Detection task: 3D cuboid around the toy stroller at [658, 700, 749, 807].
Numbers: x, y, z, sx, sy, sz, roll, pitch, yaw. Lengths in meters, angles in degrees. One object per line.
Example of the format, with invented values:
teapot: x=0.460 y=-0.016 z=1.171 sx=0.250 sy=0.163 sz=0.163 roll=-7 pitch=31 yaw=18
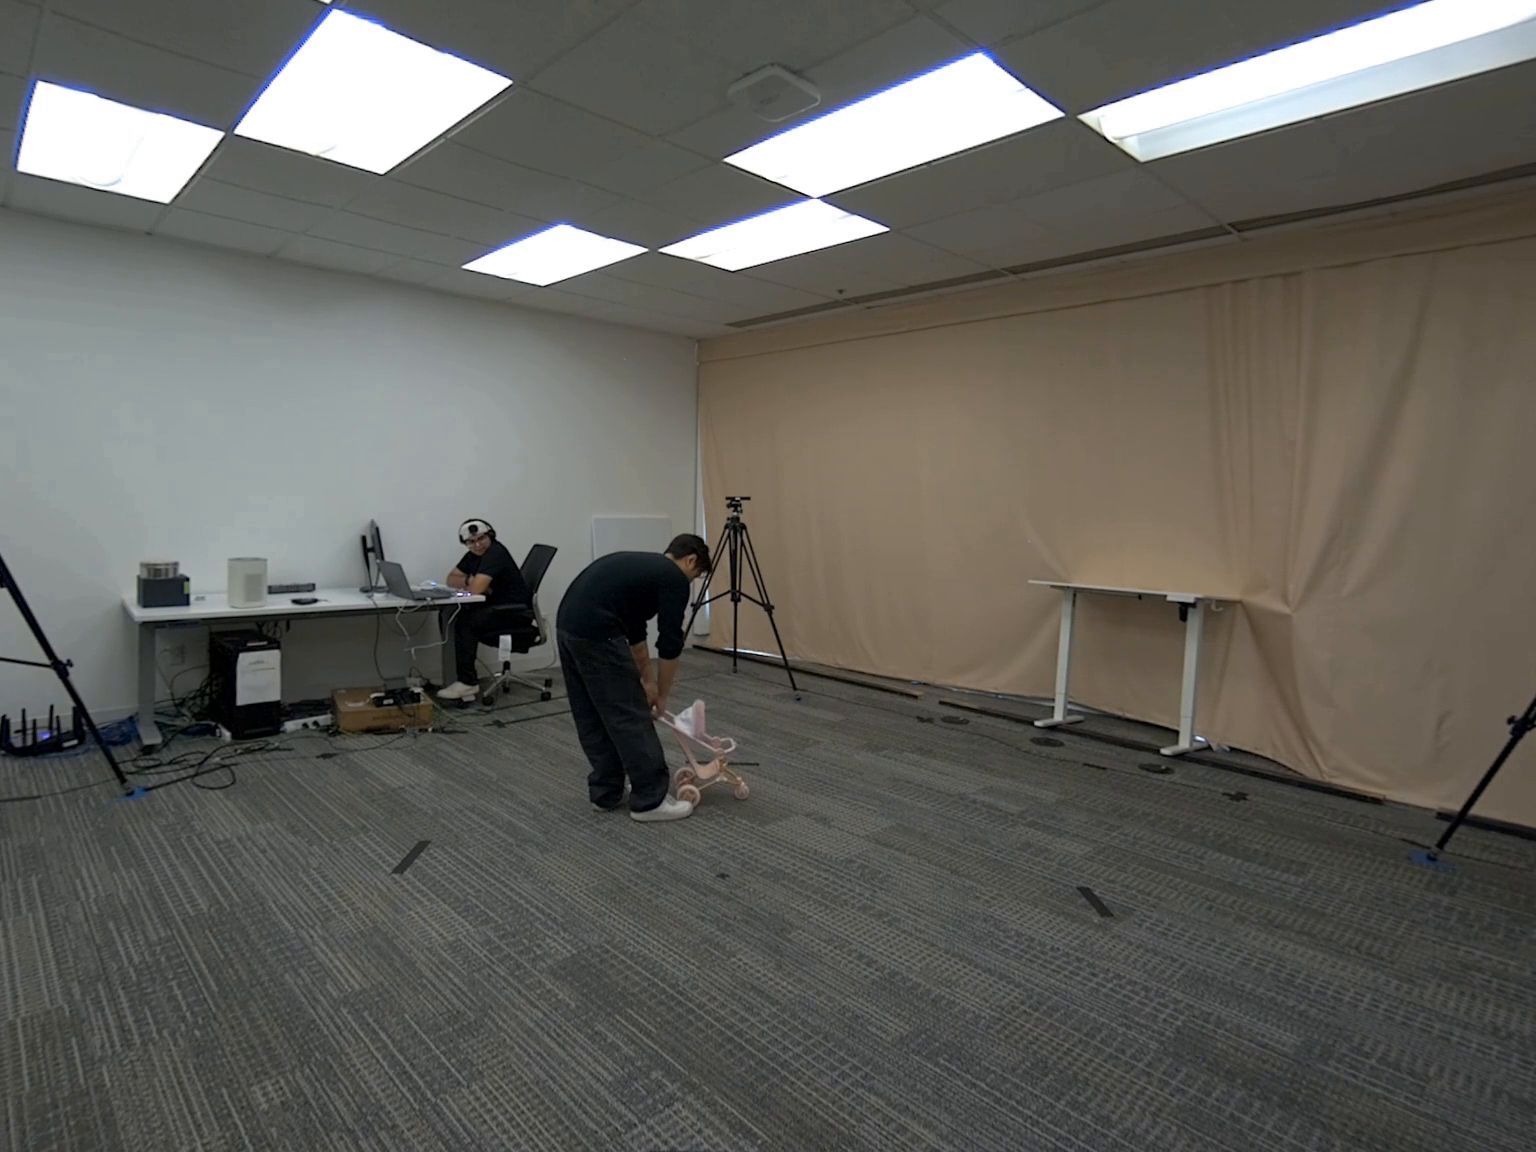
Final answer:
toy stroller: x=-0.316 y=0.810 z=3.890 sx=0.341 sy=0.533 sz=0.282 roll=-15 pitch=3 yaw=-1
